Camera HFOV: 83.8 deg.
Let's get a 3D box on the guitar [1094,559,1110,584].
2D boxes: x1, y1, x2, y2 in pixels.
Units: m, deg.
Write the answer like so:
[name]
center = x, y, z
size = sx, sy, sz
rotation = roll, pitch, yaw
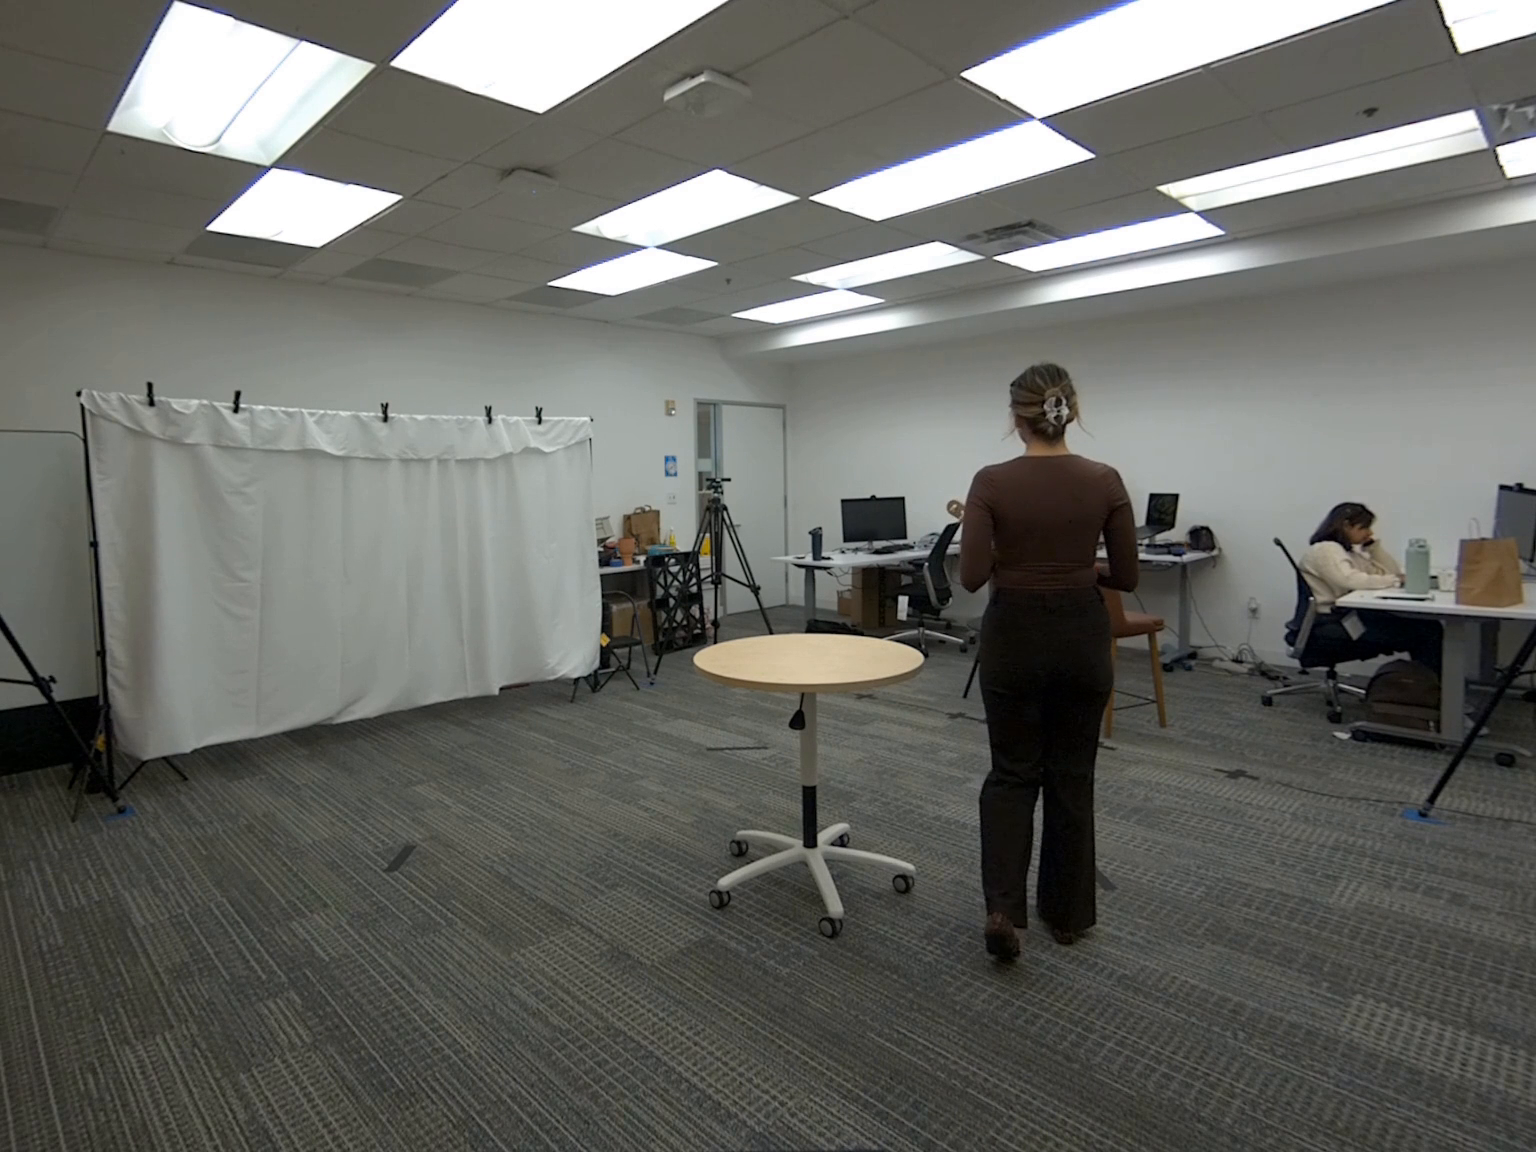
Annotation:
[guitar]
center = 0.772, -0.069, 2.717
size = 0.513, 0.189, 0.070
rotation = 28, 38, 25
